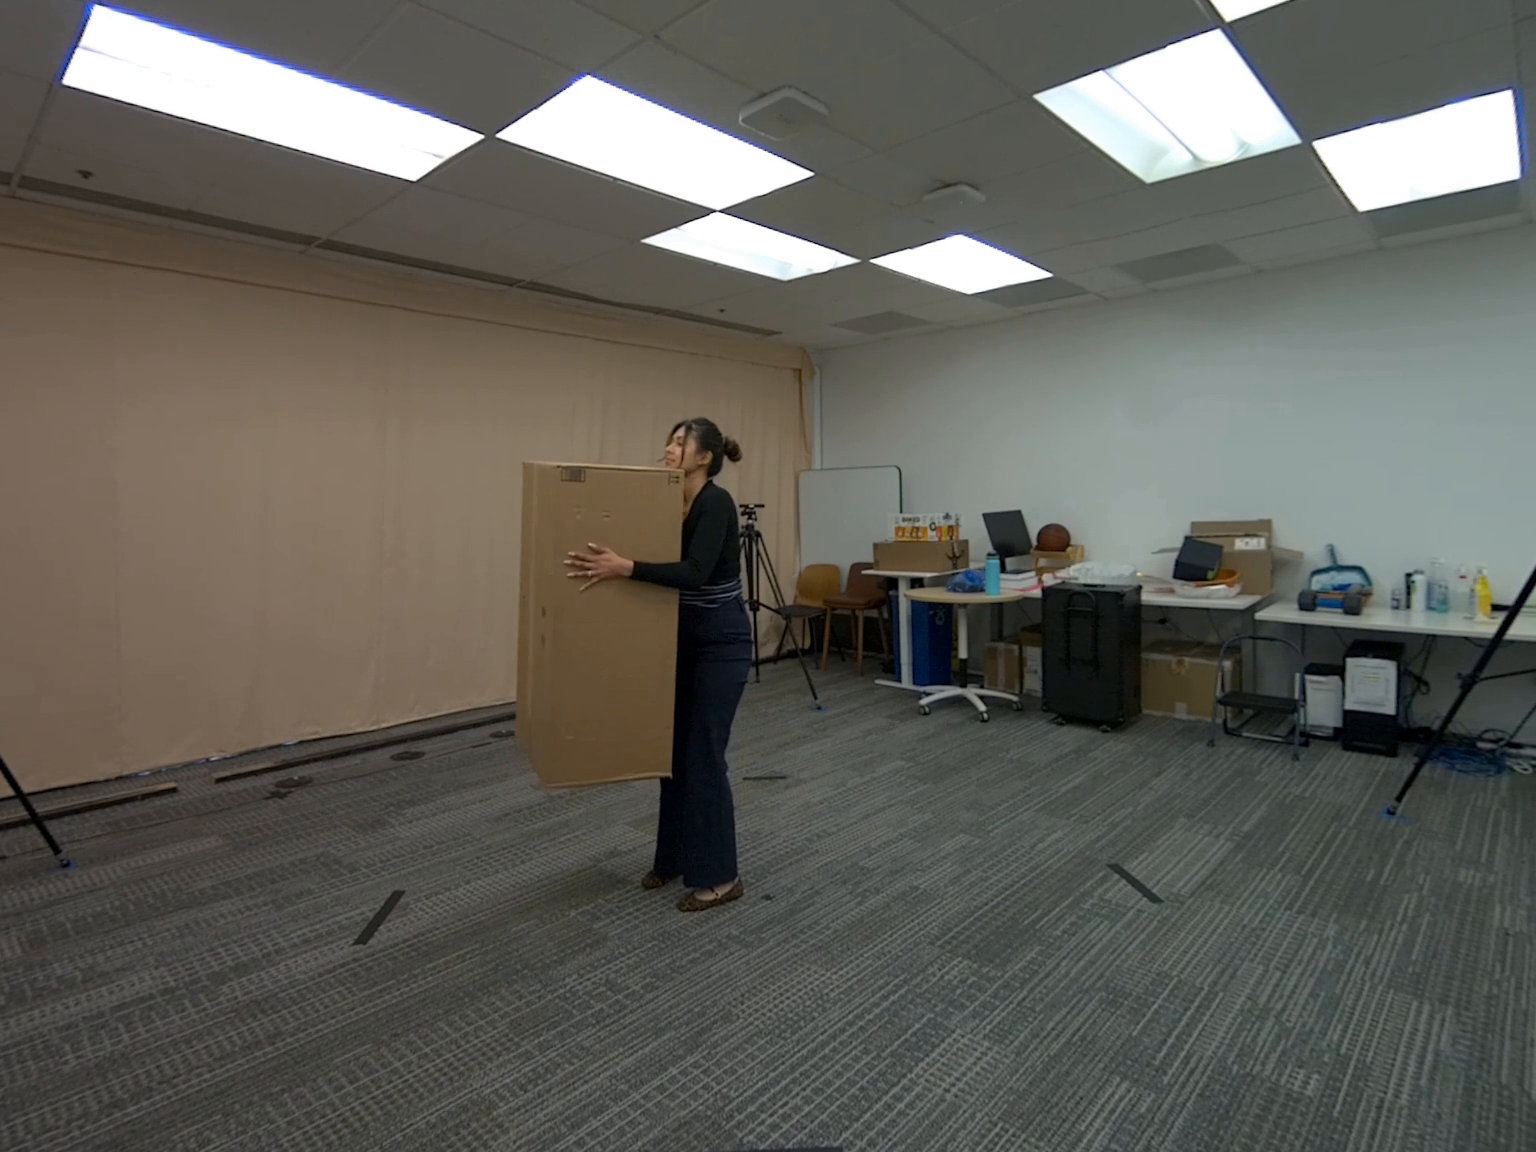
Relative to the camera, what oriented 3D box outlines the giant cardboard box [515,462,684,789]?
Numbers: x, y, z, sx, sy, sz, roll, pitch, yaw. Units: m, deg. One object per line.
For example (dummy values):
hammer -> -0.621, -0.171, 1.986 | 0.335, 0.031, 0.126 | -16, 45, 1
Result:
giant cardboard box -> -0.605, 0.129, 2.938 | 0.416, 1.022, 0.593 | 0, 6, -25
